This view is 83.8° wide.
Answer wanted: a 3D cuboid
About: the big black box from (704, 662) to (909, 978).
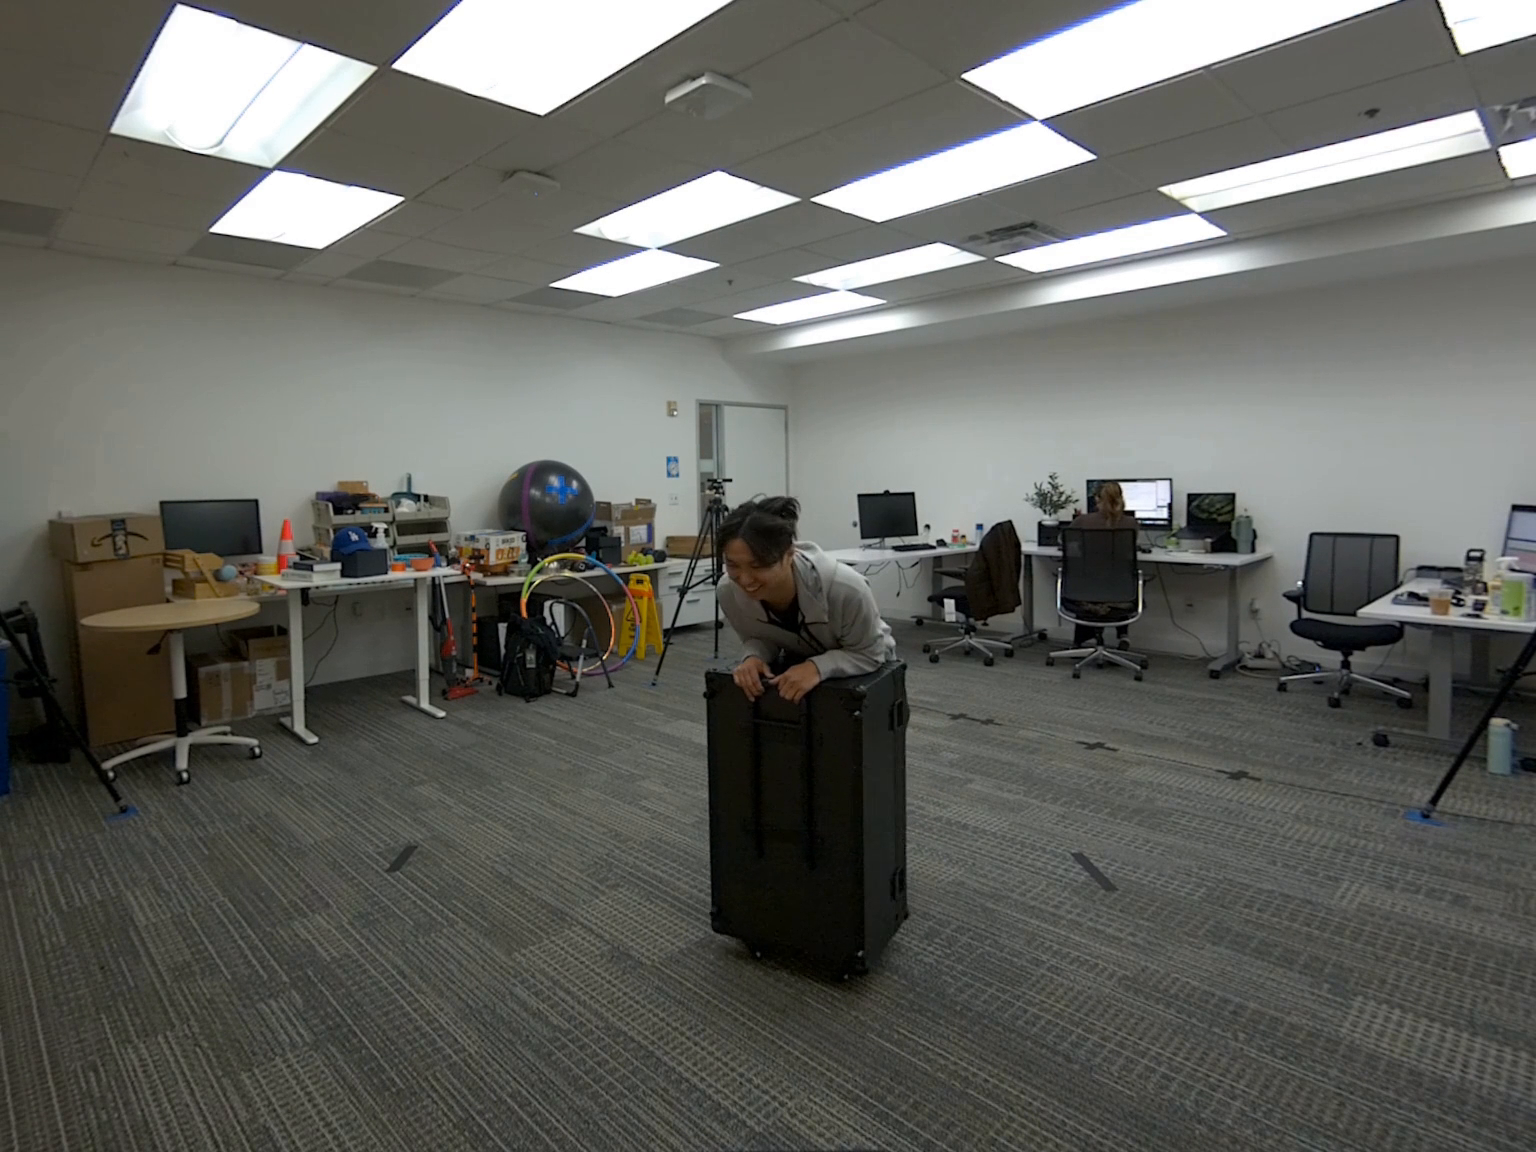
[{"bbox_3d":[0.119,0.688,2.500,0.535,0.857,0.388,1,6,30],"label":"big black box"}]
